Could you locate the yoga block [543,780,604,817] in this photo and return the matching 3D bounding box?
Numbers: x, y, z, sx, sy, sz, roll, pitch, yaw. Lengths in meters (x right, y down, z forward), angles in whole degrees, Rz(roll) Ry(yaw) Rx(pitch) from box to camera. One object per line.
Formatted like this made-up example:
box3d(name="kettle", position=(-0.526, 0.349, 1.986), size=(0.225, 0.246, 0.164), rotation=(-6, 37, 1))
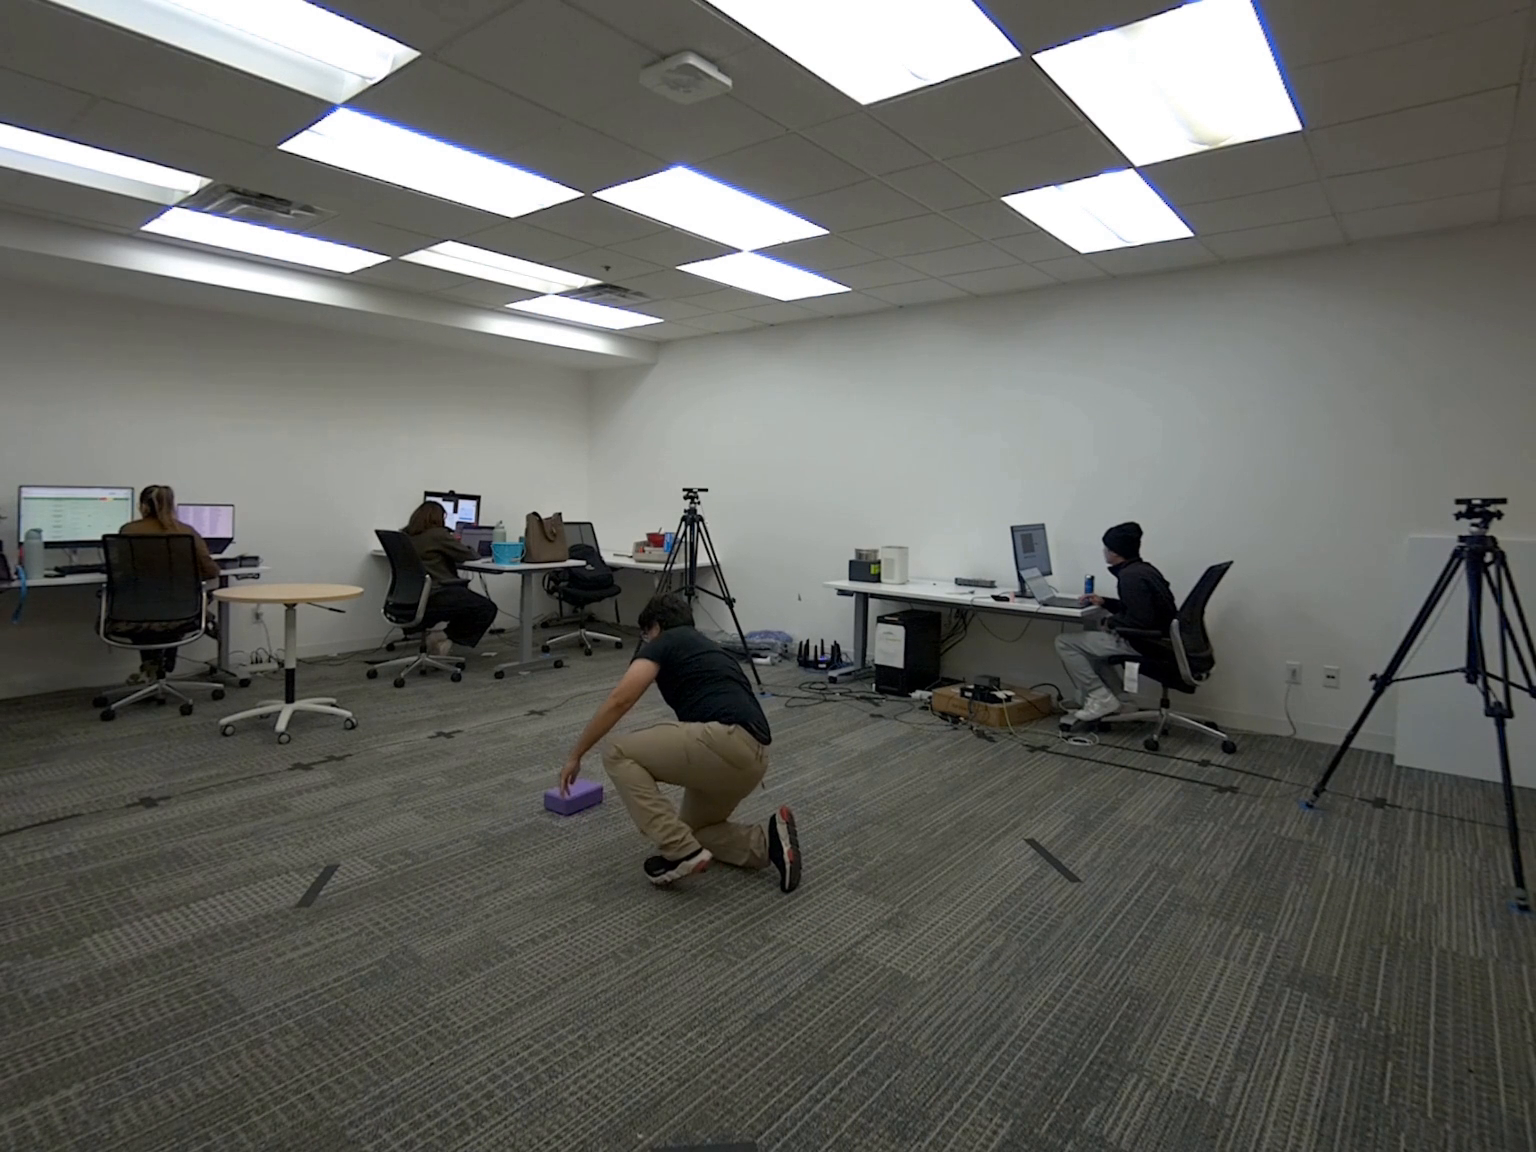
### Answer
box3d(name="yoga block", position=(-0.864, 0.963, 3.720), size=(0.154, 0.076, 0.223), rotation=(4, 6, 34))
